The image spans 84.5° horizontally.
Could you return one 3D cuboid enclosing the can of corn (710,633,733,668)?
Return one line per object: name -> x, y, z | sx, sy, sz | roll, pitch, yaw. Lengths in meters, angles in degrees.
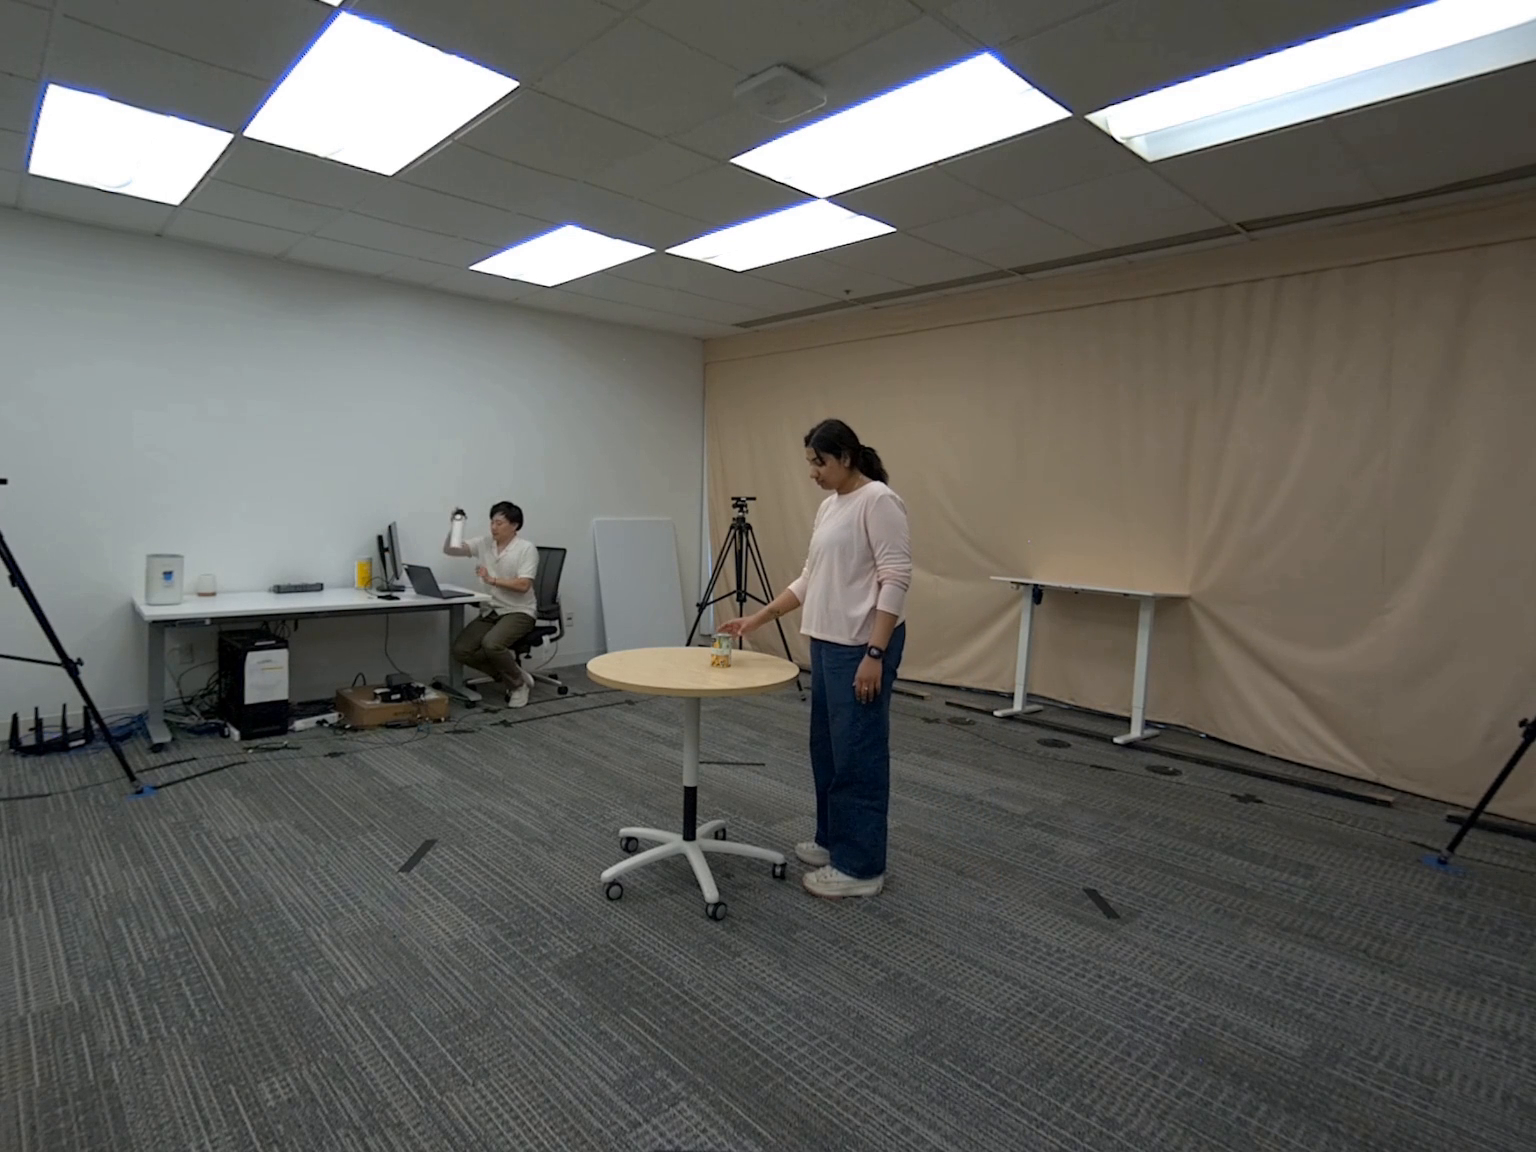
can of corn -> -0.169, 0.269, 3.067 | 0.074, 0.111, 0.074 | 2, 2, -1
